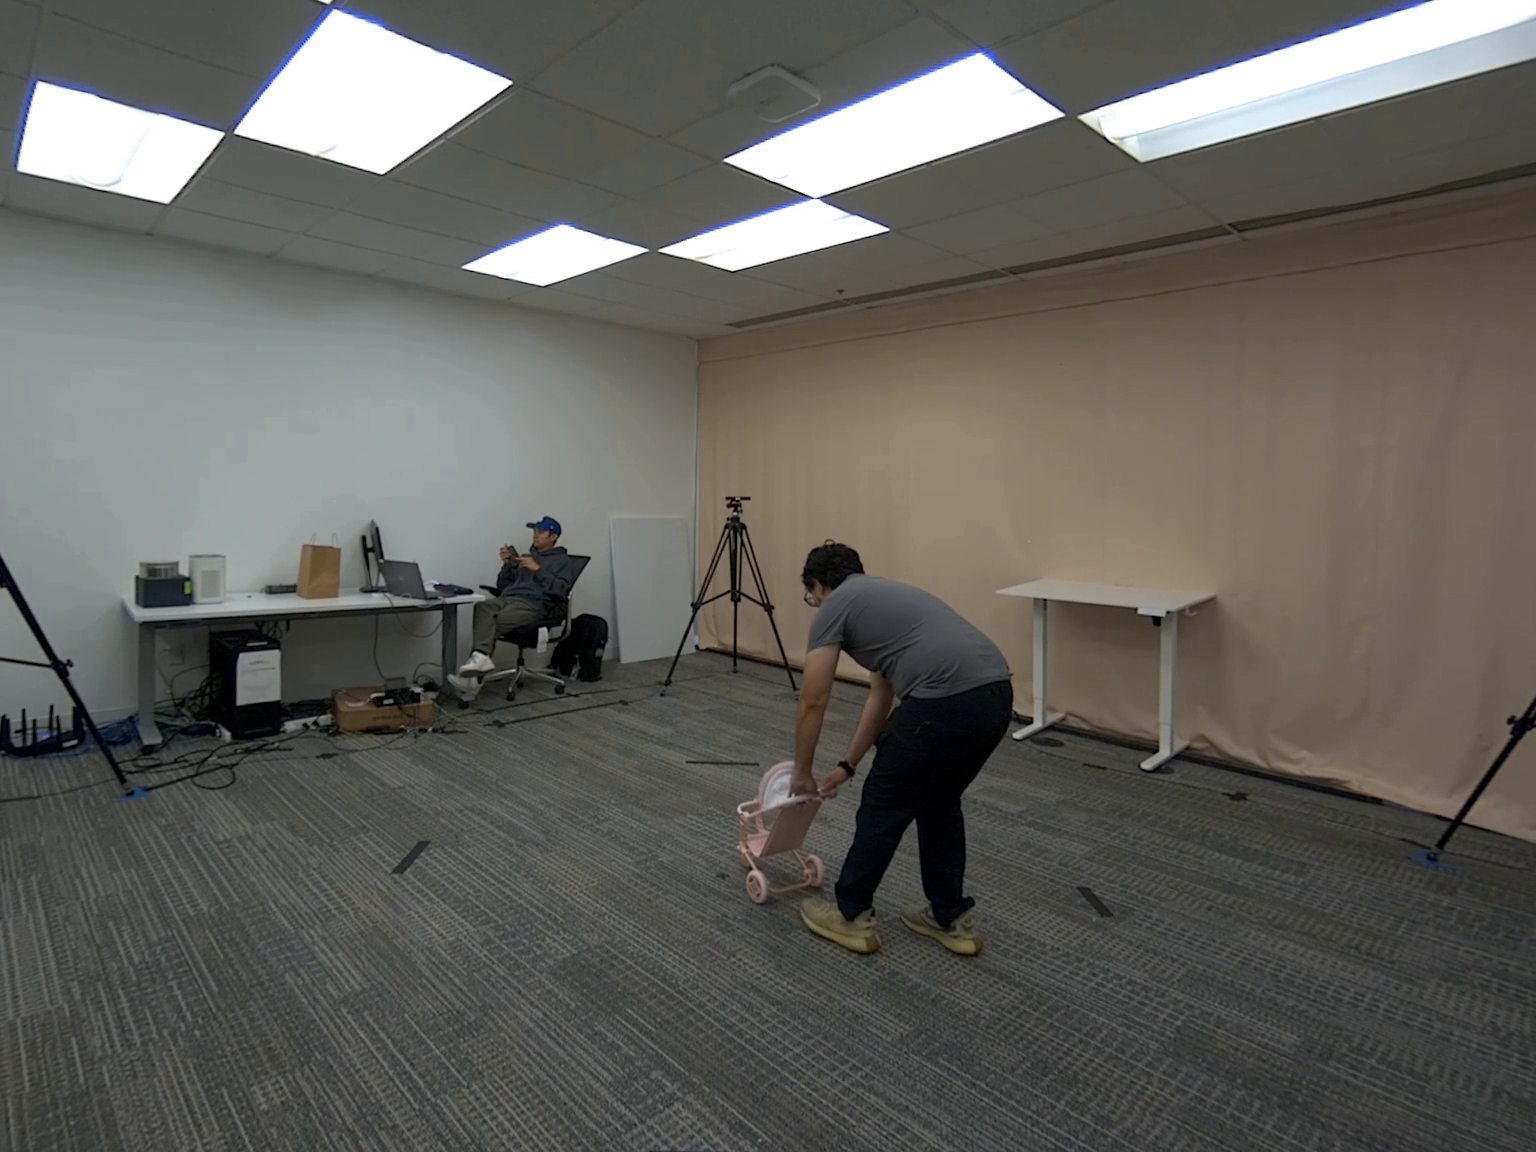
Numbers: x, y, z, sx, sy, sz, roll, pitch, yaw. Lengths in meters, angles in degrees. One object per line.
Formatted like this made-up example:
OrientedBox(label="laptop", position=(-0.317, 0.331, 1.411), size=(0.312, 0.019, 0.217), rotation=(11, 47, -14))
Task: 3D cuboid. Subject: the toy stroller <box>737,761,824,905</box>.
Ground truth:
OrientedBox(label="toy stroller", position=(0.033, 0.893, 3.009), size=(0.276, 0.529, 0.352), rotation=(0, 21, -29))
